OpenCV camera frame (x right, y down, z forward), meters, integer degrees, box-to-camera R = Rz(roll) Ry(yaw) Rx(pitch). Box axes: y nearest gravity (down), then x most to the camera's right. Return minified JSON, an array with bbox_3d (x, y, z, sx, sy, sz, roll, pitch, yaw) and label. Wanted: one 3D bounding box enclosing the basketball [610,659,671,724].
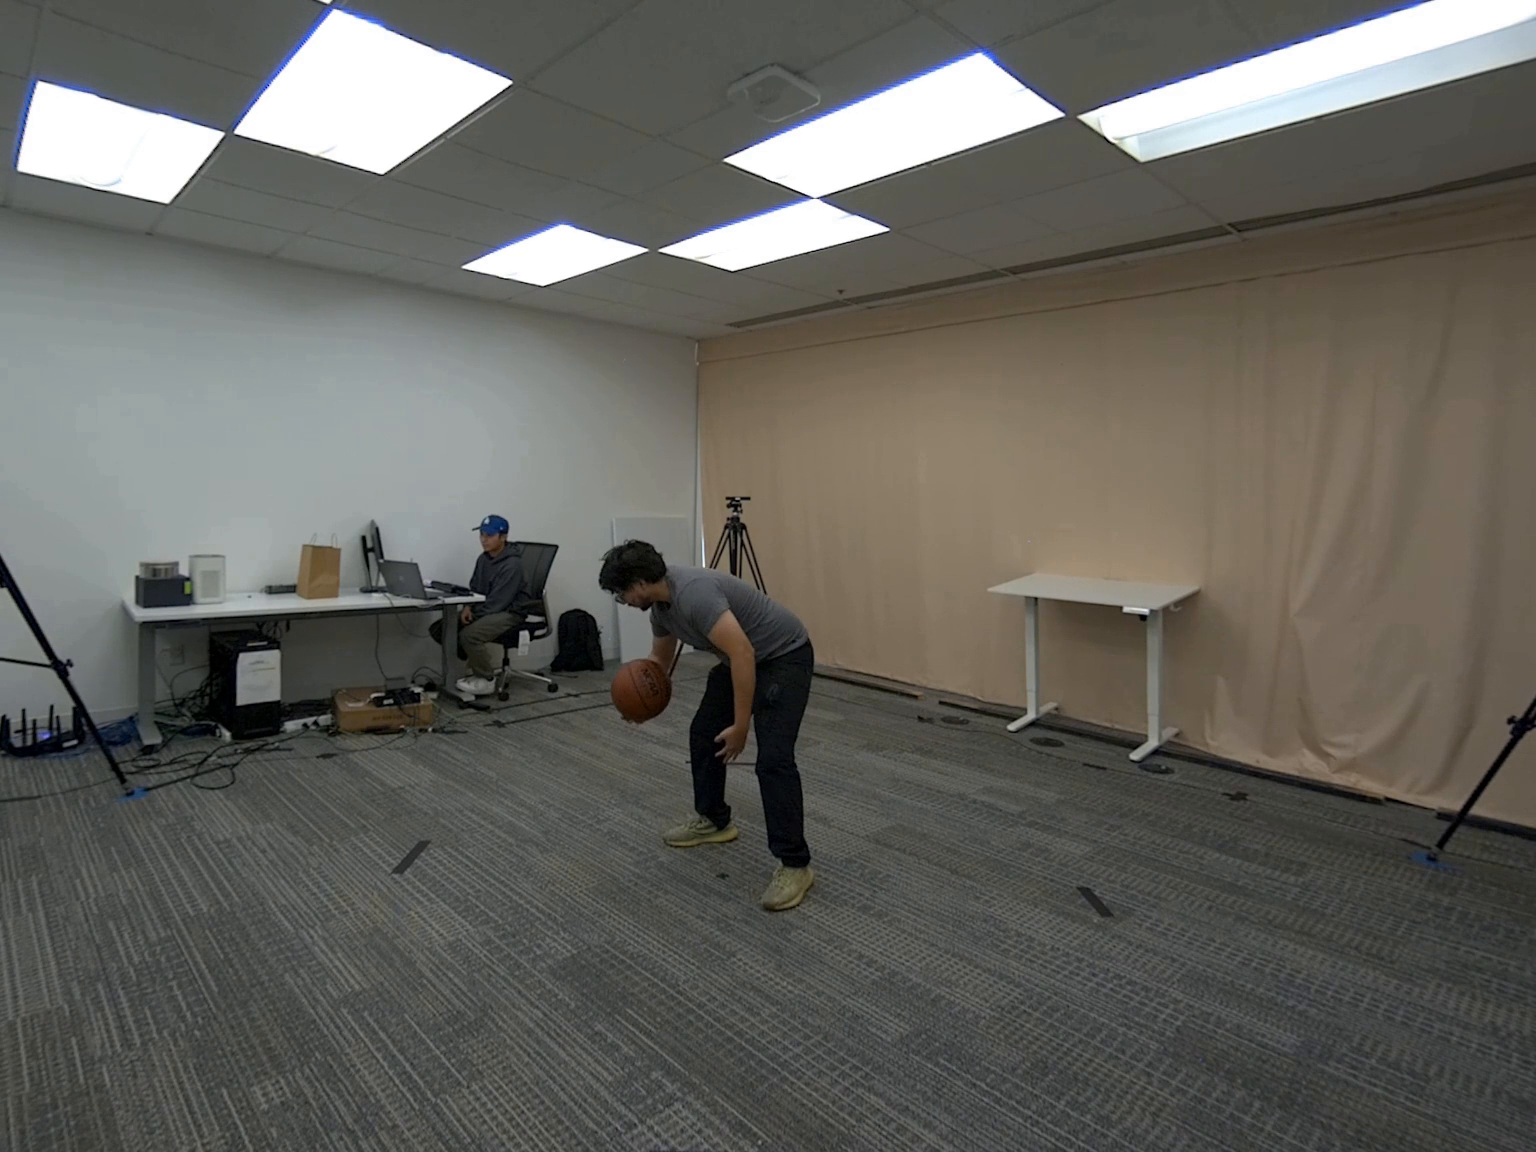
[{"bbox_3d":[-0.497,0.445,3.292,0.236,0.235,0.237,1,4,-1],"label":"basketball"}]
